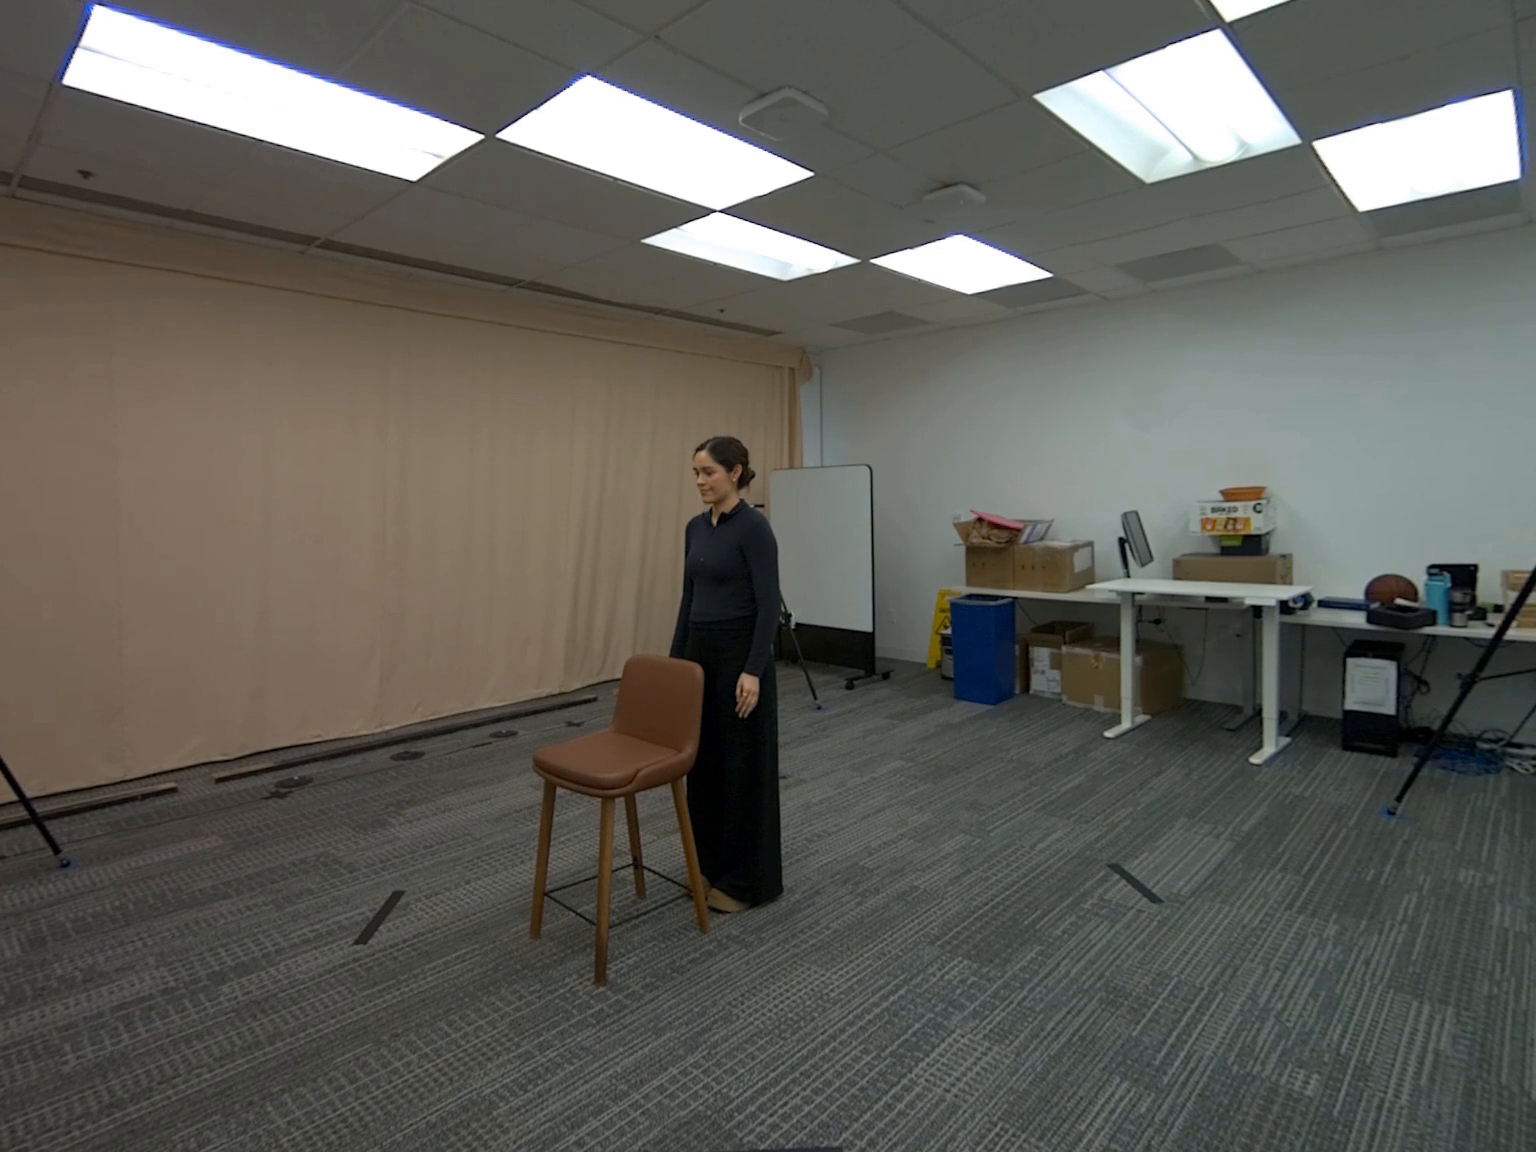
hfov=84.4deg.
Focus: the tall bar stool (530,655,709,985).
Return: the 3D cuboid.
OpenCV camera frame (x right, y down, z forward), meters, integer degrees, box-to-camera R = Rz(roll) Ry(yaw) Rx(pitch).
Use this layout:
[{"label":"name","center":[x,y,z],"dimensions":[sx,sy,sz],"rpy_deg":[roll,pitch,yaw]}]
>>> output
[{"label":"tall bar stool","center":[-0.480,0.733,2.726],"dimensions":[0.453,0.889,0.472],"rpy_deg":[-1,2,-44]}]
